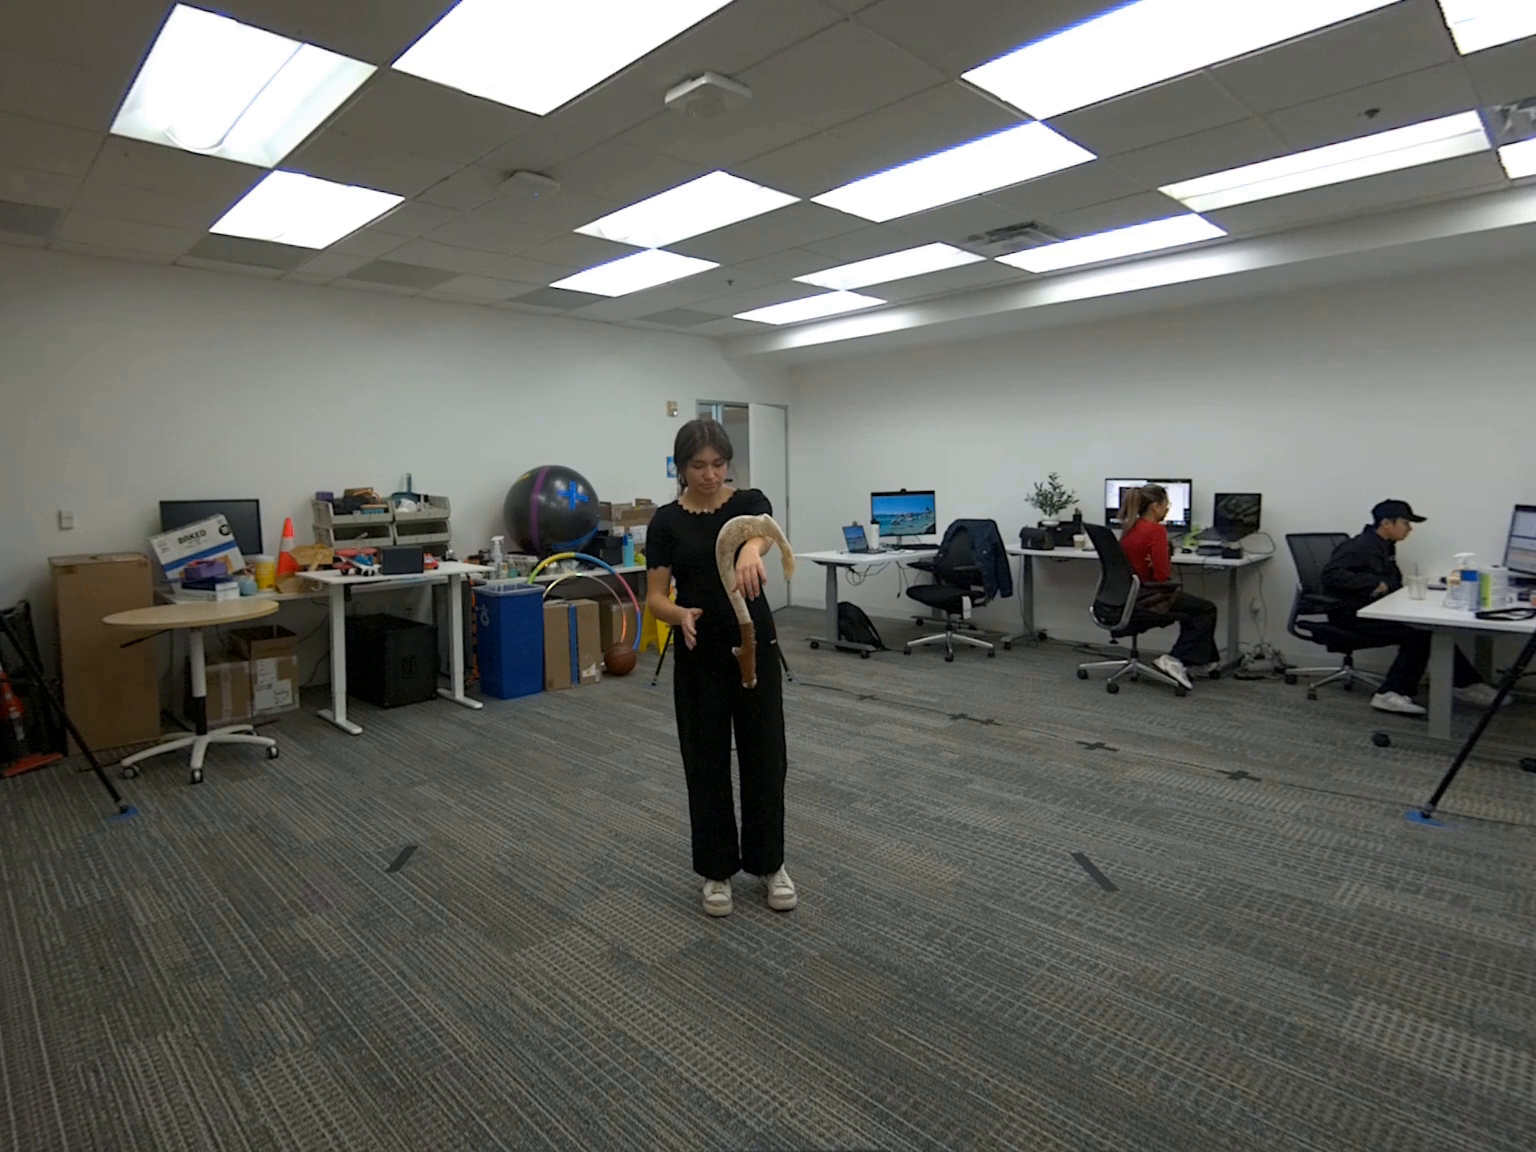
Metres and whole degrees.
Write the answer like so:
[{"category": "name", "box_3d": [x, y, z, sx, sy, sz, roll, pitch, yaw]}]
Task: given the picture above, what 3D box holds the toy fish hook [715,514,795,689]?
[{"category": "toy fish hook", "box_3d": [-0.026, 0.077, 2.450, 0.228, 0.502, 0.048, -1, 8, 17]}]
